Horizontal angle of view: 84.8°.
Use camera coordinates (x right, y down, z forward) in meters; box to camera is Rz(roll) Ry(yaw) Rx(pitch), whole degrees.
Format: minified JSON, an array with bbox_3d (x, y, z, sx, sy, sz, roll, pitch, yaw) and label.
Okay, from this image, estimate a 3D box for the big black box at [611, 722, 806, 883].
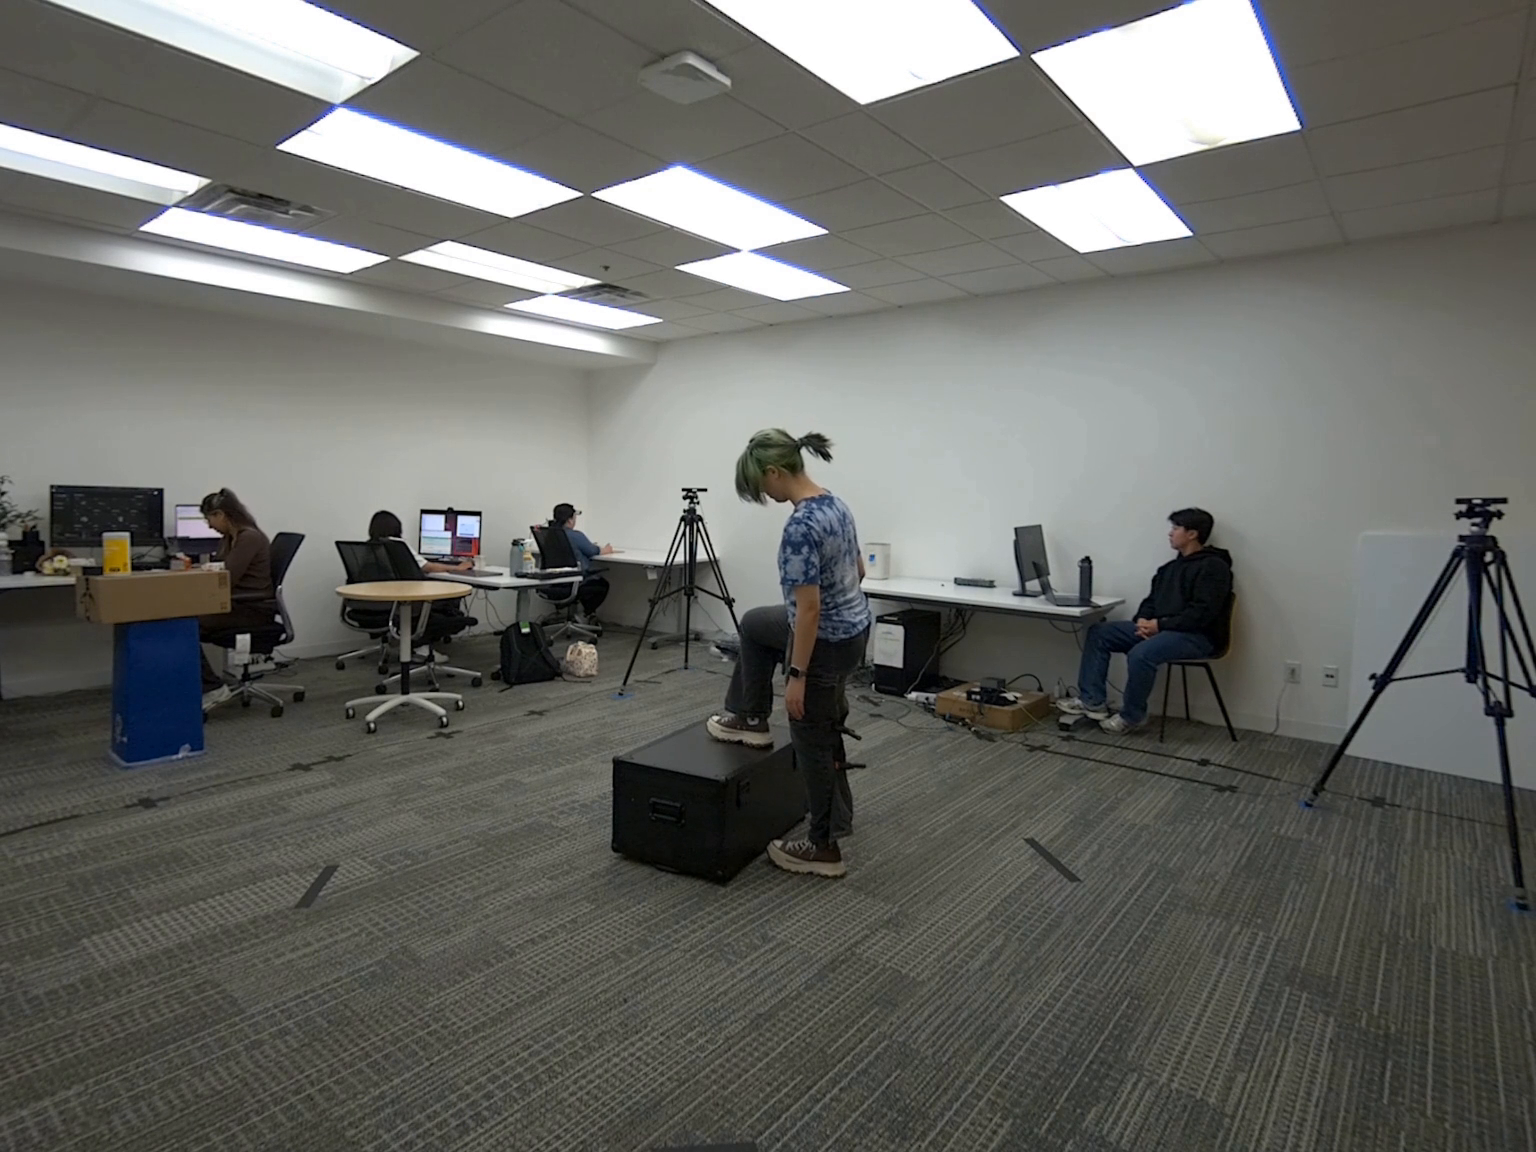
[{"bbox_3d":[-0.195,0.849,3.433,0.536,0.395,0.841,3,6,27],"label":"big black box"}]
